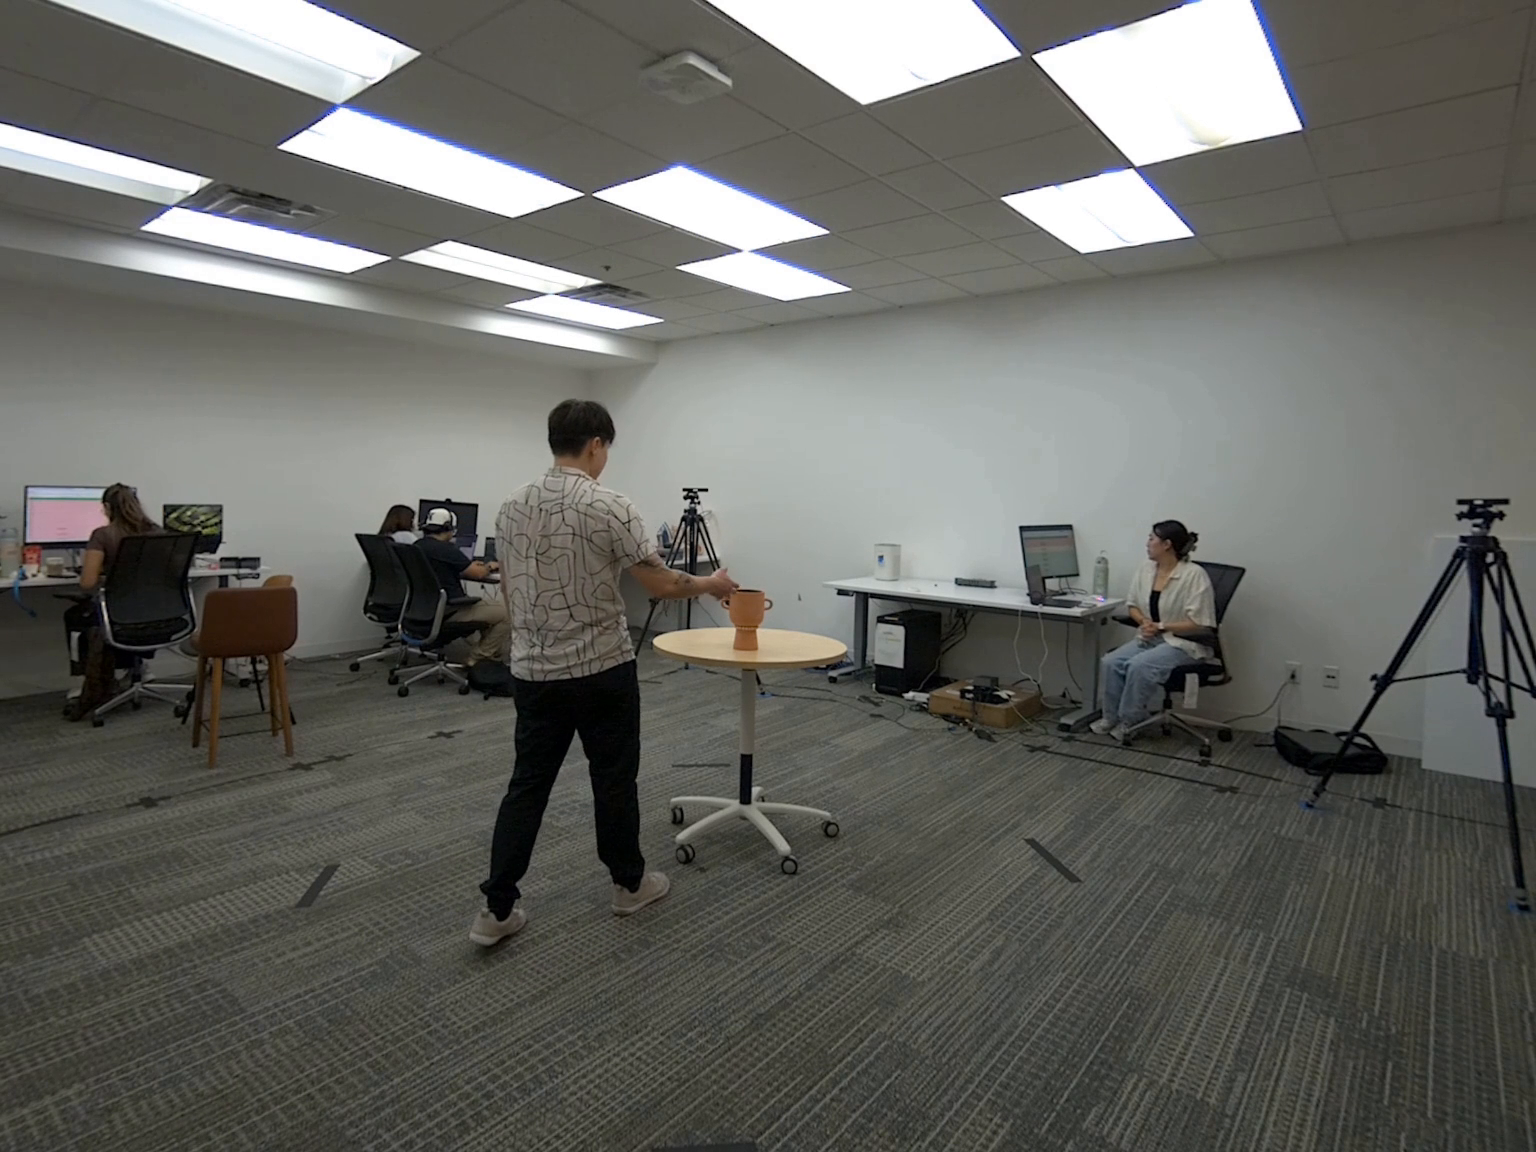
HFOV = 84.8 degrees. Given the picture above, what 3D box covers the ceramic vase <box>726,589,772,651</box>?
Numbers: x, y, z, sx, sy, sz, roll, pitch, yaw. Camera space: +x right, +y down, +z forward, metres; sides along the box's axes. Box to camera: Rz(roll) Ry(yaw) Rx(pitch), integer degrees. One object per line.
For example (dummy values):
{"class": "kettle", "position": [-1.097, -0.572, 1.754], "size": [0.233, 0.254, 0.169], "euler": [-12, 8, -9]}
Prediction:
{"class": "ceramic vase", "position": [-0.091, 0.165, 3.244], "size": [0.164, 0.219, 0.130], "euler": [4, 4, 38]}
